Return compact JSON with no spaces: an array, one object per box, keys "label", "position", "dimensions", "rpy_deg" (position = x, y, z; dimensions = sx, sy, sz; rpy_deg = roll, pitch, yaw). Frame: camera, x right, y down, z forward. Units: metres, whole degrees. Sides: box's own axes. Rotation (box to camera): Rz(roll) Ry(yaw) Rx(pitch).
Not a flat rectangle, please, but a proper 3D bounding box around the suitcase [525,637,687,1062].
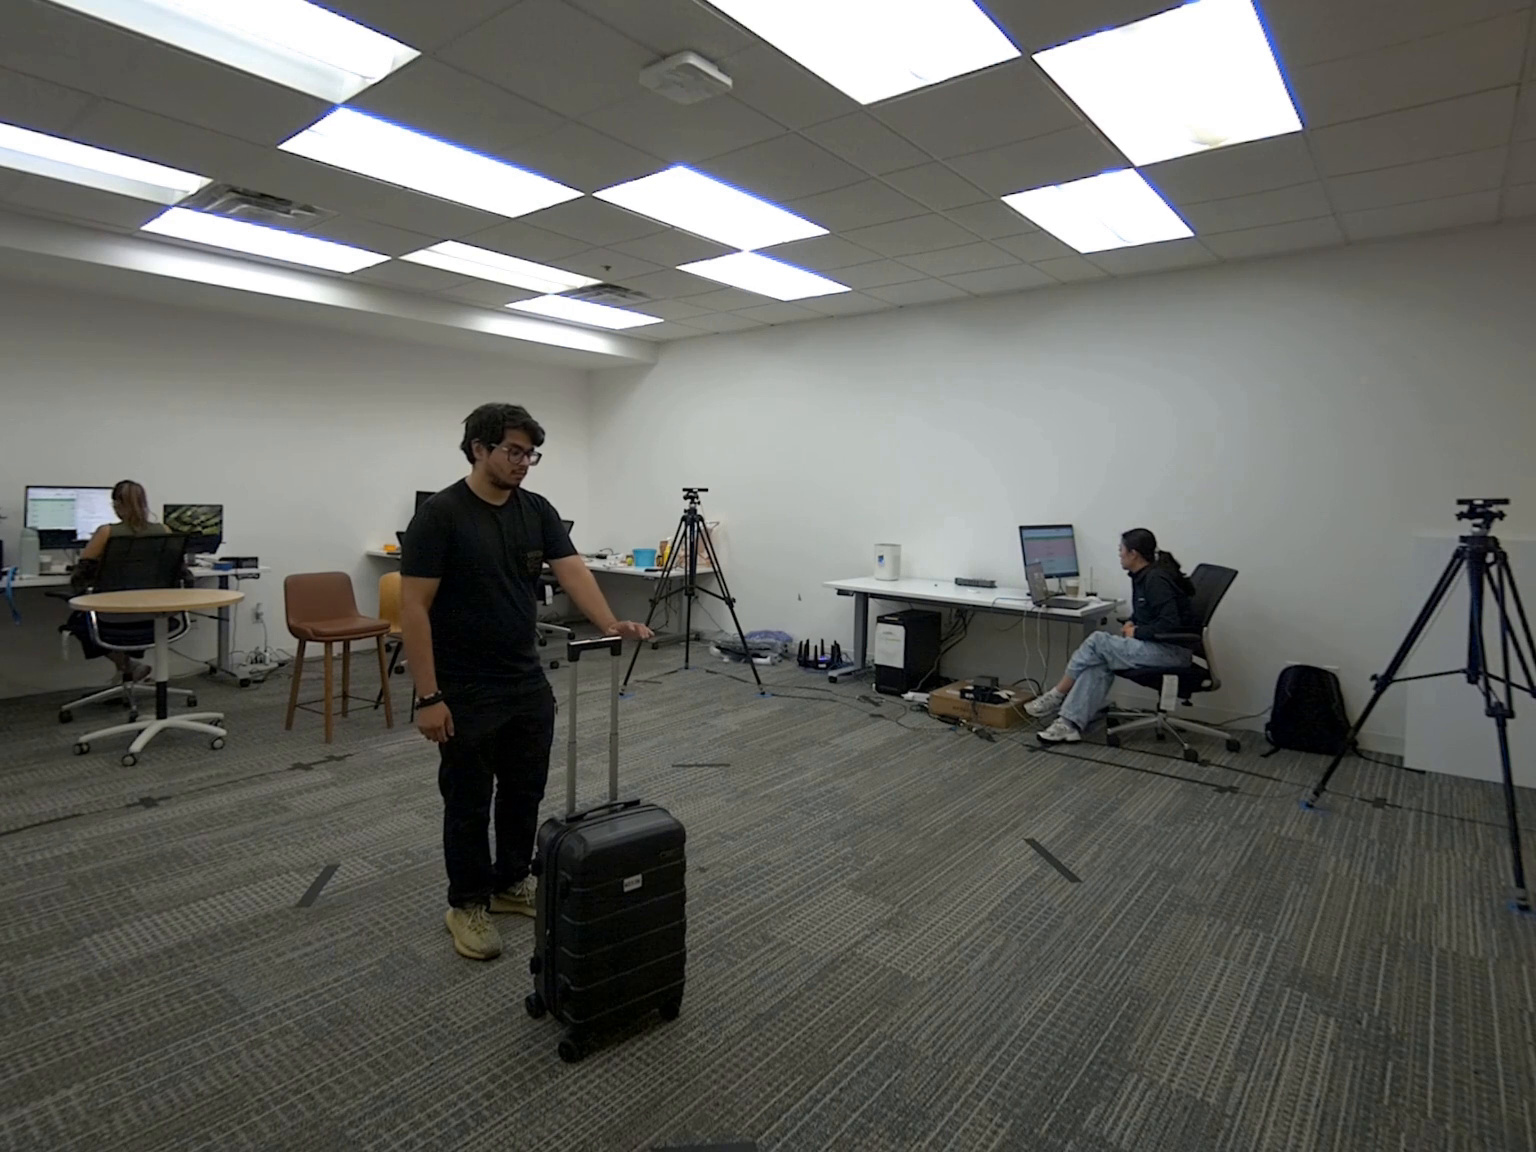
[{"label":"suitcase","position":[-0.403,0.680,2.198],"dimensions":[0.373,0.974,0.266],"rpy_deg":[-1,6,-36]}]
